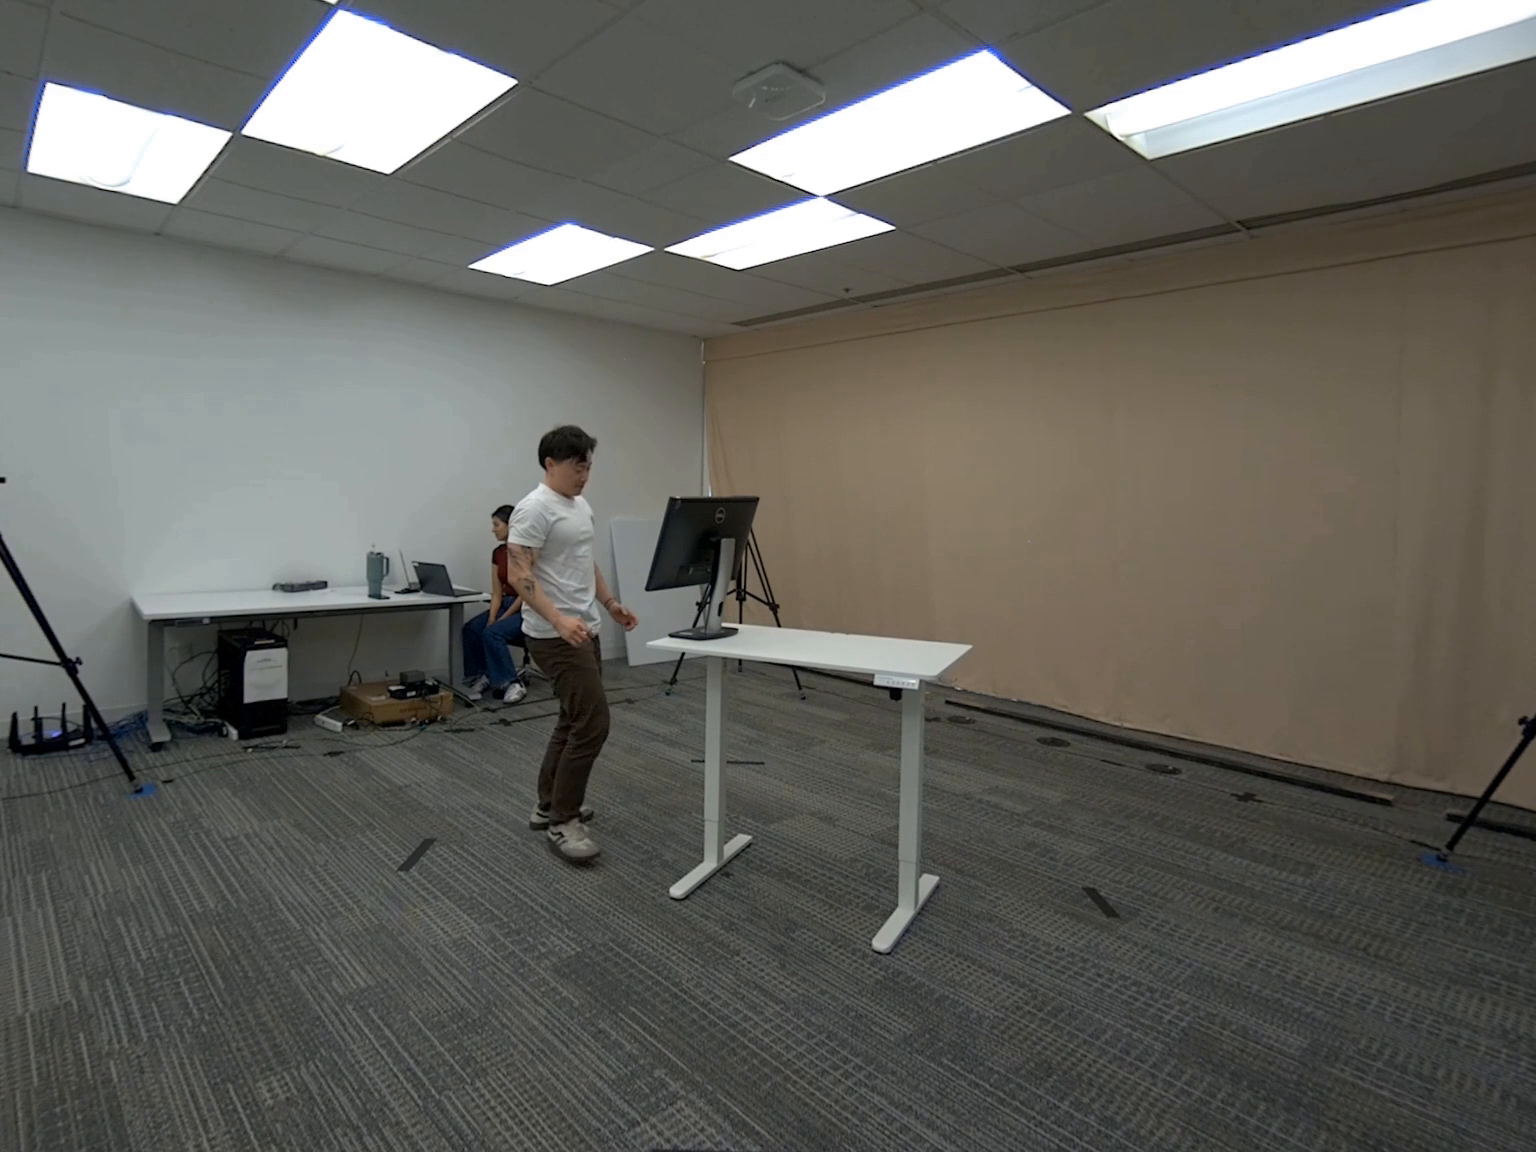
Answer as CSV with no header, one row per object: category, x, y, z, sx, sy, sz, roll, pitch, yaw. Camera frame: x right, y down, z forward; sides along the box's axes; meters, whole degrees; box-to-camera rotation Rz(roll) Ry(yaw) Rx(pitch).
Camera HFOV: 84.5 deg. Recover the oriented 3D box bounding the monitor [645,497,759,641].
monitor,-0.225,-0.034,3.109,0.191,0.520,0.529,7,7,29
